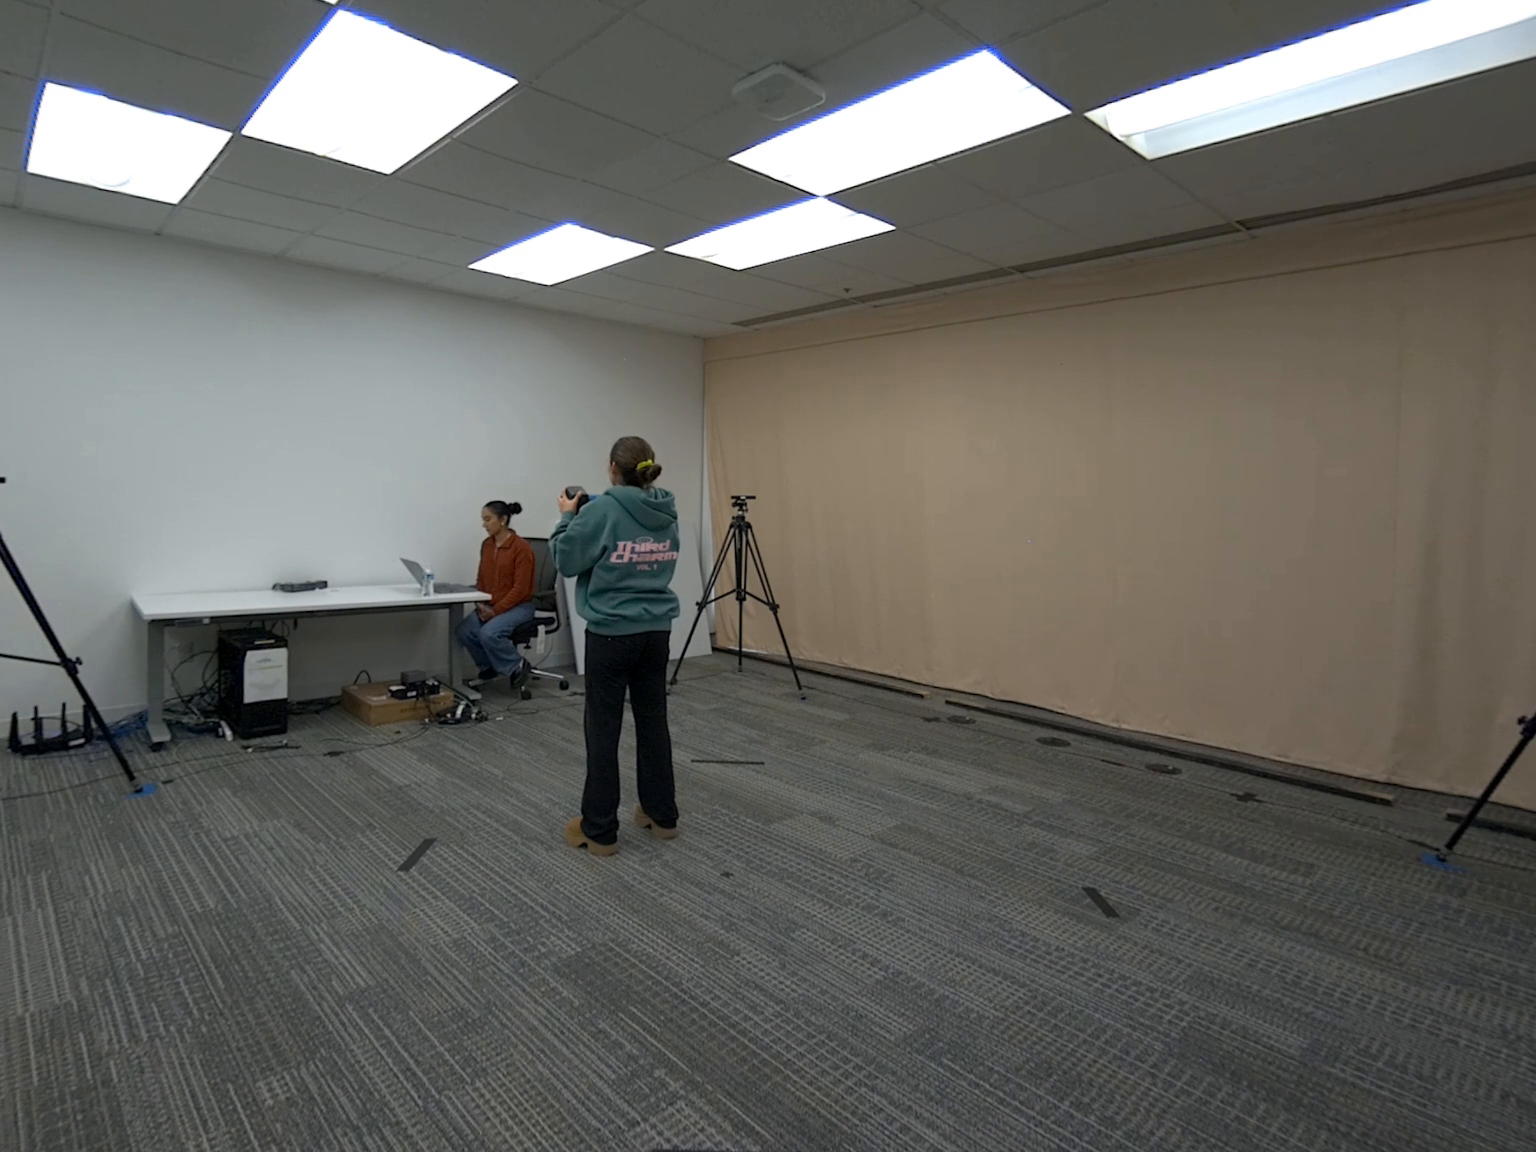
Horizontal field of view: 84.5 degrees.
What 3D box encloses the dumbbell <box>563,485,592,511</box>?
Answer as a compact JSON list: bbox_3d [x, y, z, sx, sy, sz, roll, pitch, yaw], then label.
[{"bbox_3d":[-0.721,-0.306,3.542,0.287,0.108,0.127,-4,36,-42],"label":"dumbbell"}]
